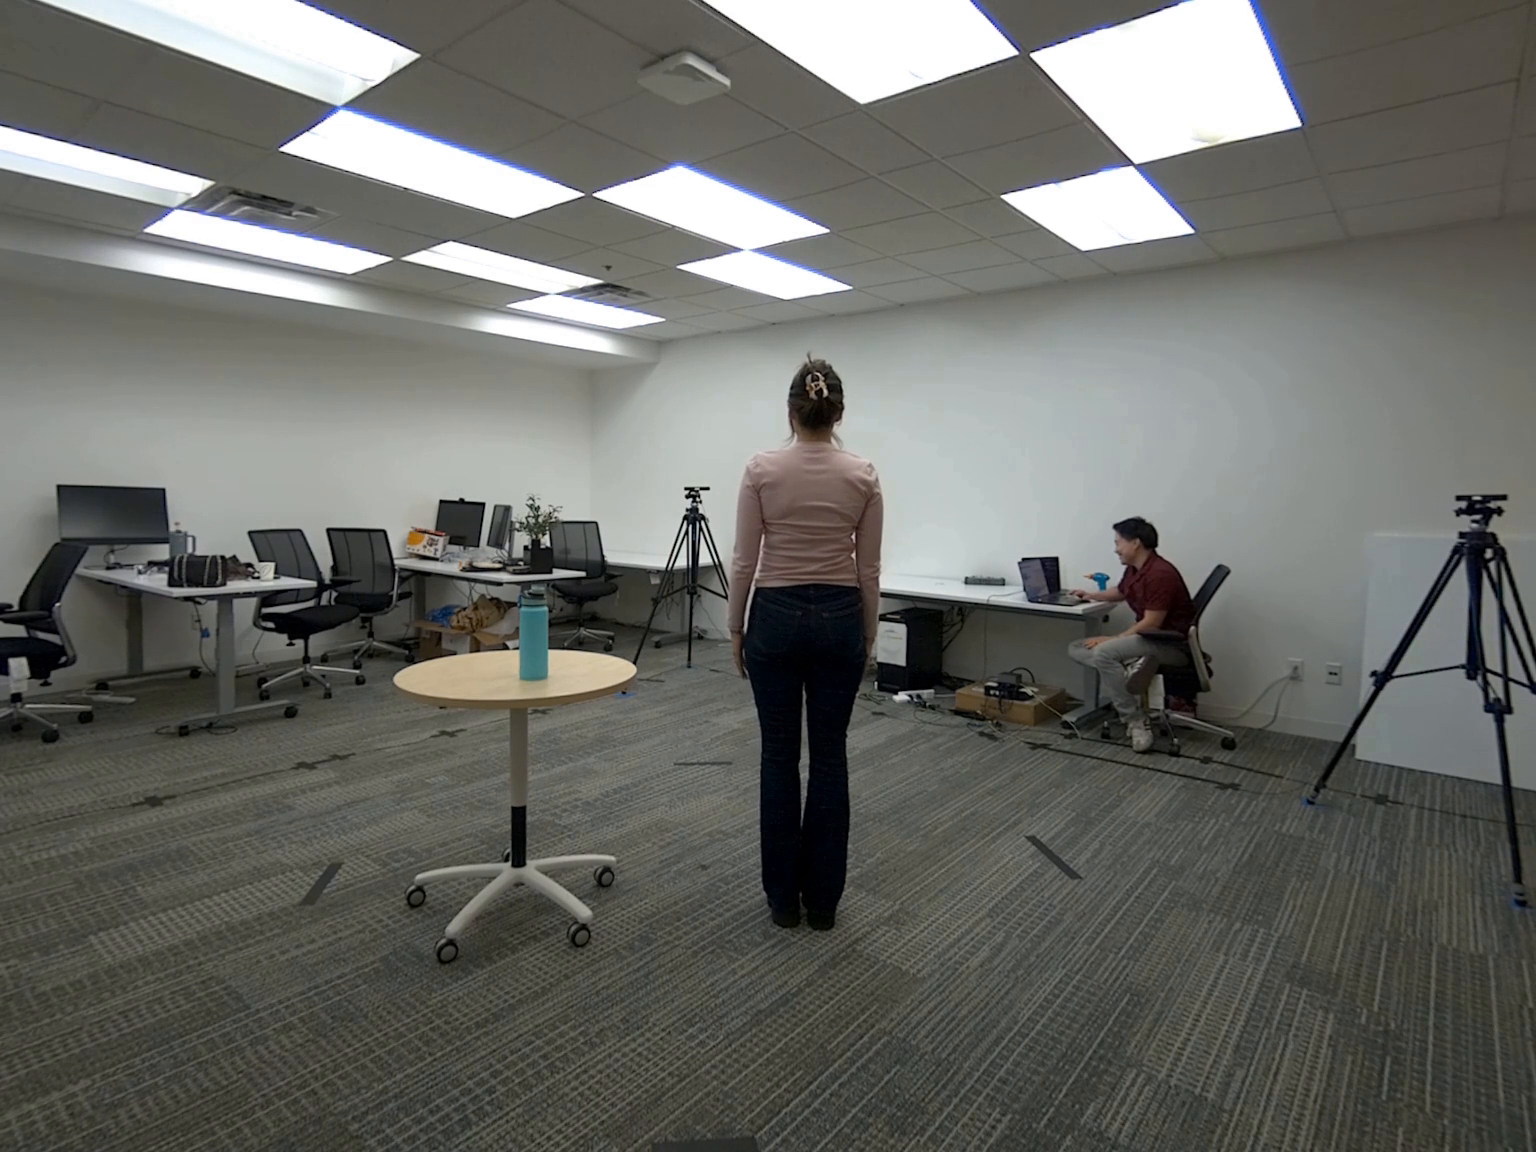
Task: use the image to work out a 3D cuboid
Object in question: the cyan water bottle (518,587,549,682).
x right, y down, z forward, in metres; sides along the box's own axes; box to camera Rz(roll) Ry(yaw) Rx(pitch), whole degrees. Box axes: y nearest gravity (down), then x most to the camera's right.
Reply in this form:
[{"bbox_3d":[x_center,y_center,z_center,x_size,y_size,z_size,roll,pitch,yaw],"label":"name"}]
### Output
[{"bbox_3d":[-0.747,0.176,2.678,0.092,0.283,0.092,0,1,-2],"label":"cyan water bottle"}]
